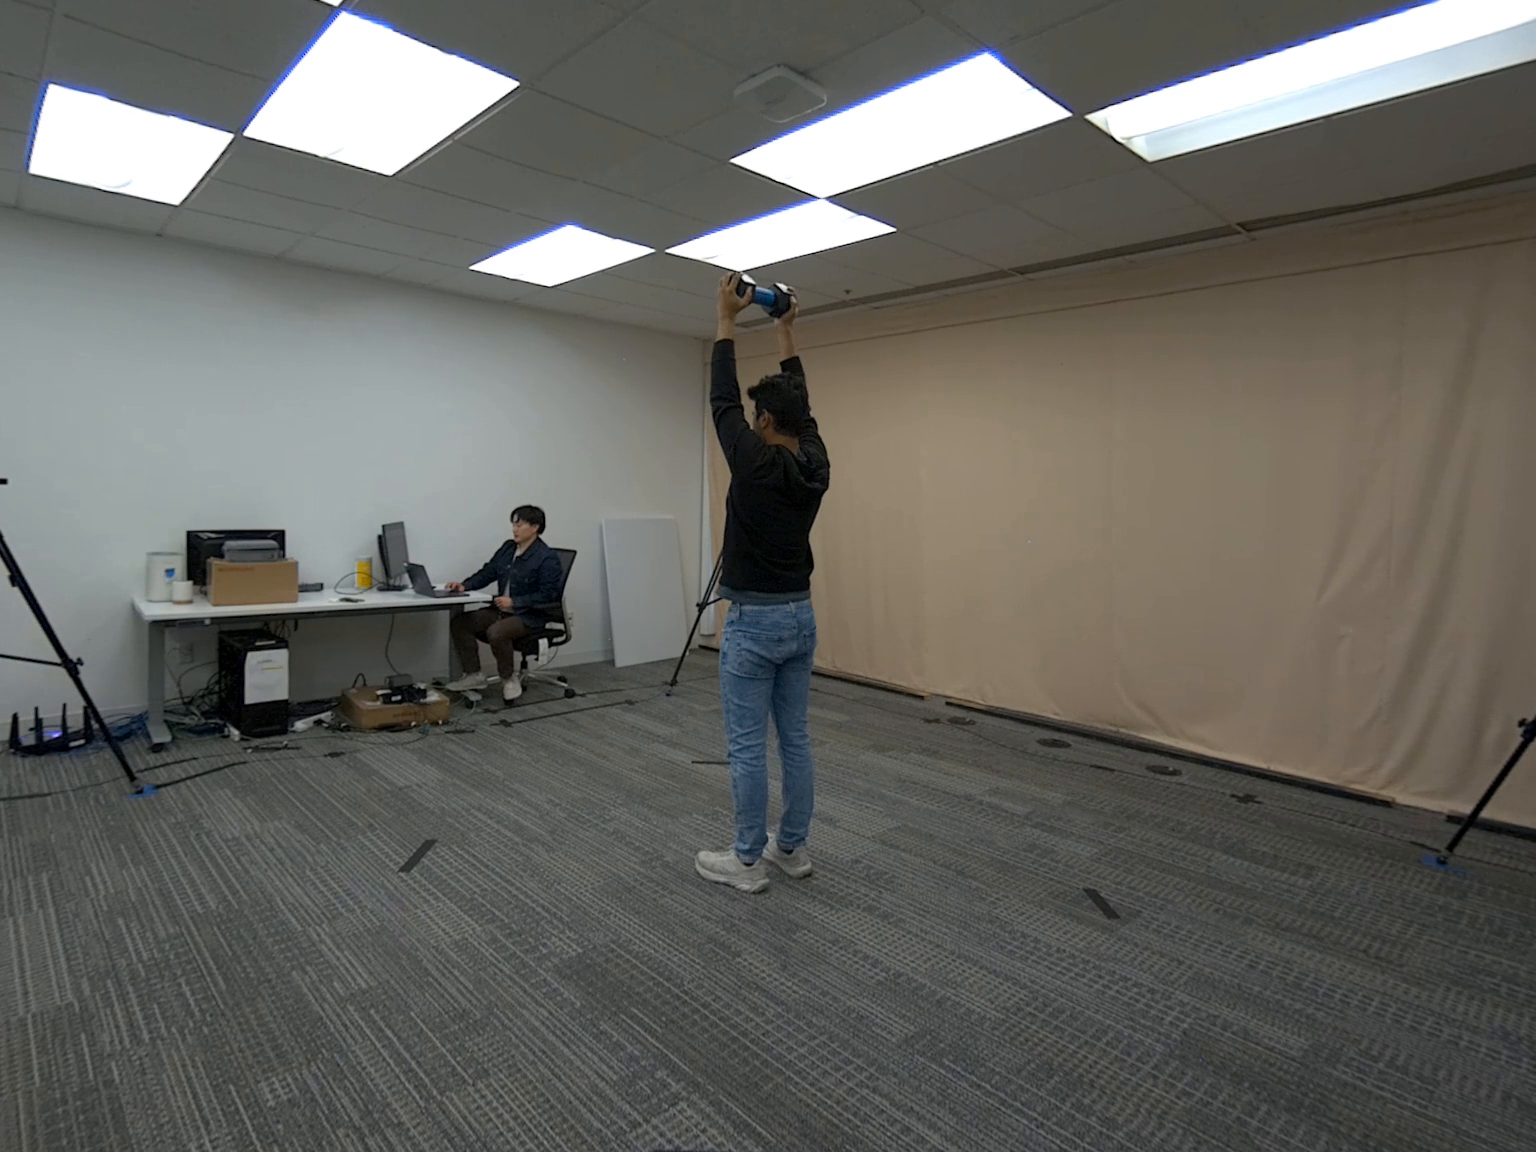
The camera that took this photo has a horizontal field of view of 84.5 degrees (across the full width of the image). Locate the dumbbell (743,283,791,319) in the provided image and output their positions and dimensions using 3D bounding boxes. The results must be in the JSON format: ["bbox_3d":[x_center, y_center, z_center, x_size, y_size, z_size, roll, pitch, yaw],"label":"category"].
[{"bbox_3d":[-0.042,-1.014,3.065,0.125,0.109,0.287,-20,-9,43],"label":"dumbbell"}]
